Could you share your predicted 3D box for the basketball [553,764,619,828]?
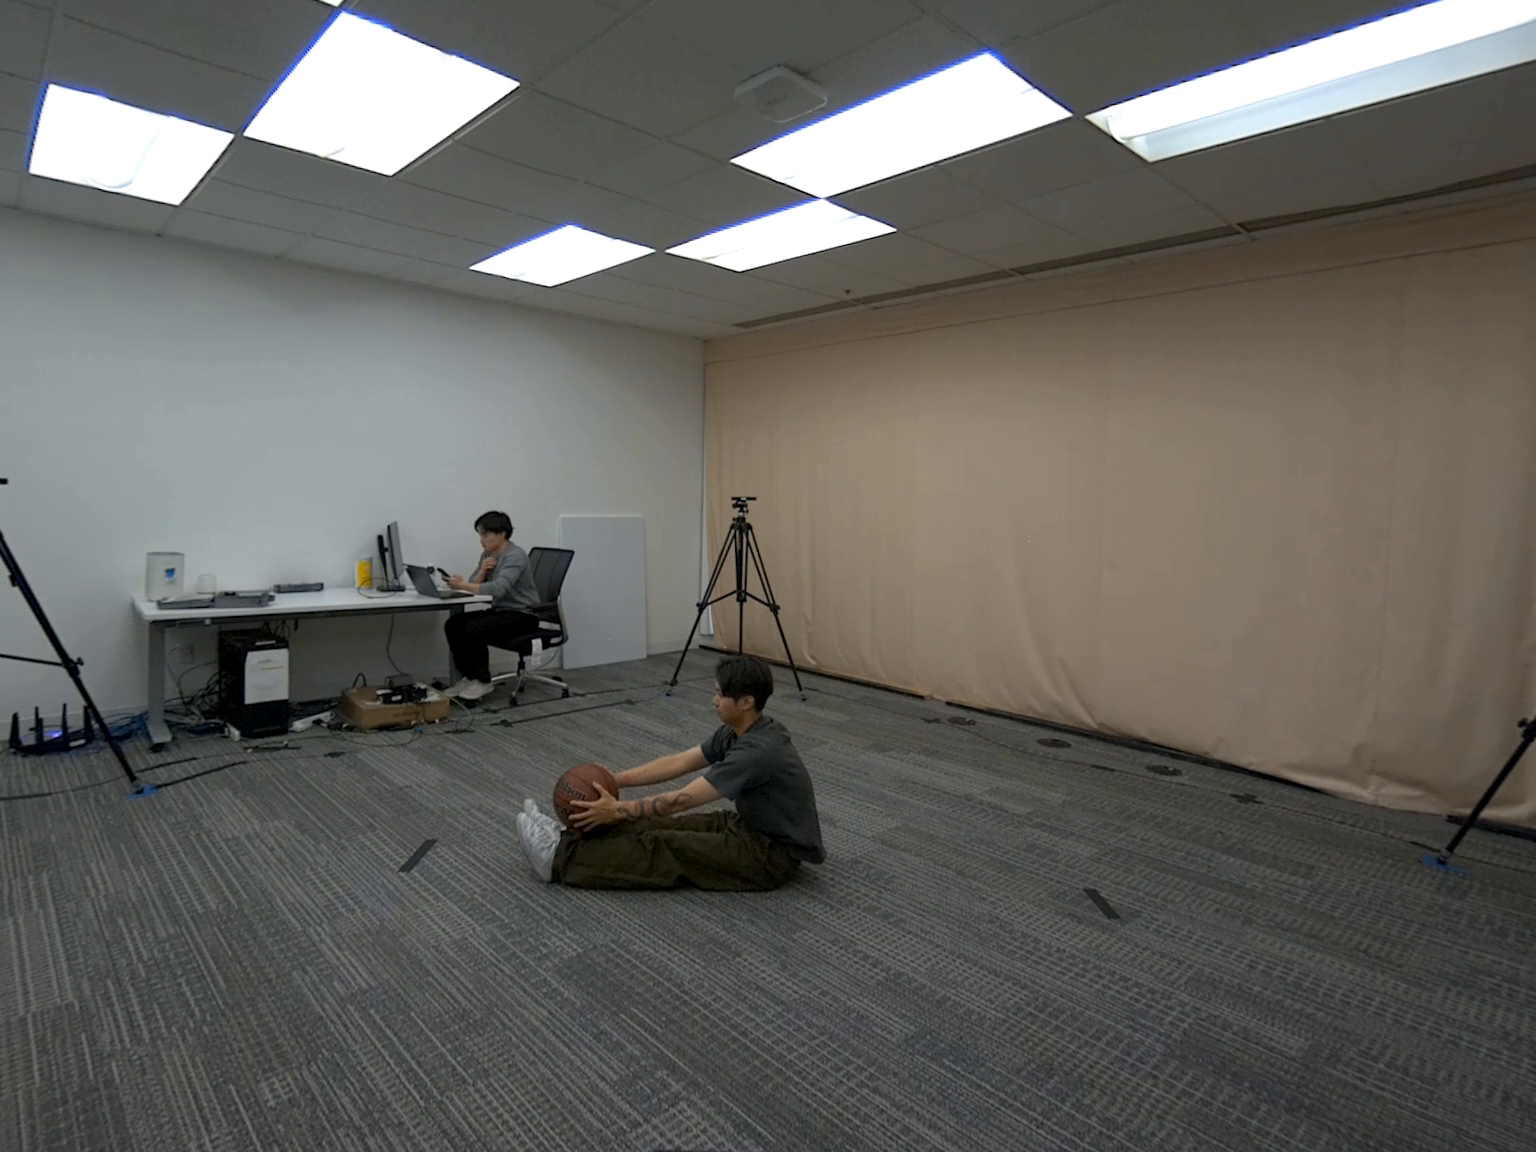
[{"bbox_3d":[-0.669,0.806,3.062,0.236,0.235,0.237,1,4,-1],"label":"basketball"}]
